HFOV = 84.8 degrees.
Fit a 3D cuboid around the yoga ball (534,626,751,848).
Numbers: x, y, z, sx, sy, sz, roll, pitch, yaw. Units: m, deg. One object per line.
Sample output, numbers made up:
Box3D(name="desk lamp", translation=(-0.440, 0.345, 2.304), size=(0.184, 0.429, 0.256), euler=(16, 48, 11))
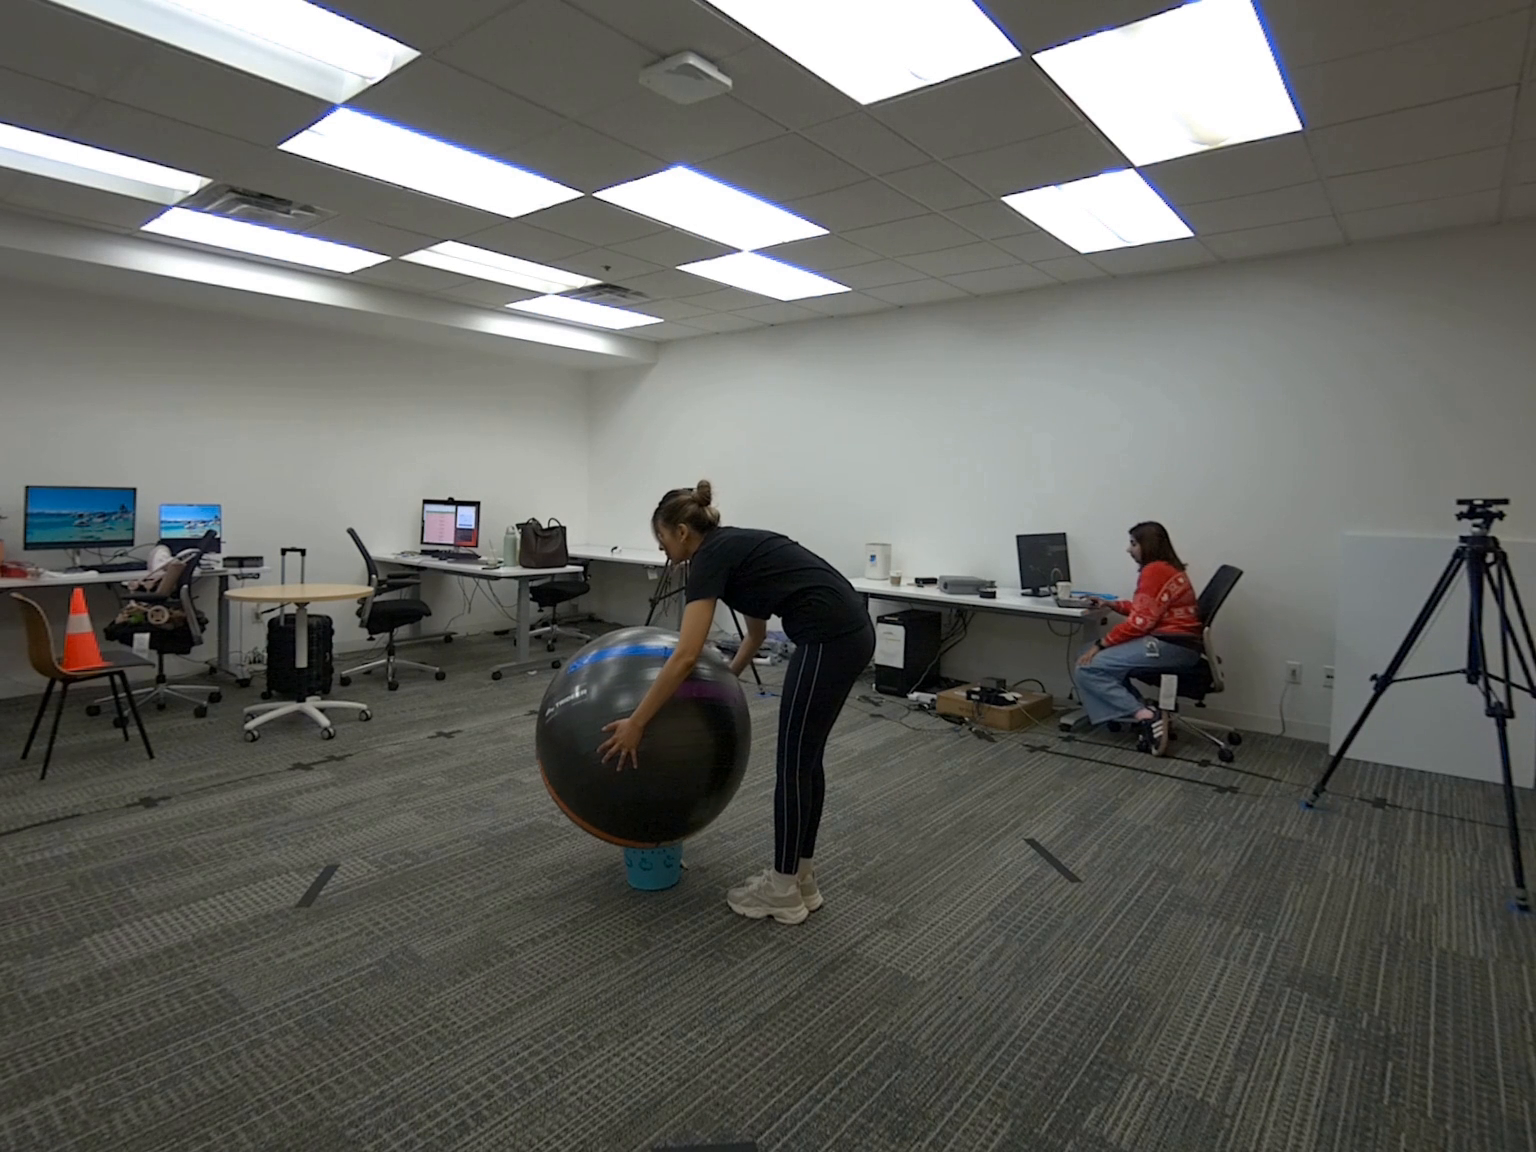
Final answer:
Box3D(name="yoga ball", translation=(-0.449, 0.563, 3.007), size=(0.757, 0.755, 0.762), euler=(1, 4, -2))
